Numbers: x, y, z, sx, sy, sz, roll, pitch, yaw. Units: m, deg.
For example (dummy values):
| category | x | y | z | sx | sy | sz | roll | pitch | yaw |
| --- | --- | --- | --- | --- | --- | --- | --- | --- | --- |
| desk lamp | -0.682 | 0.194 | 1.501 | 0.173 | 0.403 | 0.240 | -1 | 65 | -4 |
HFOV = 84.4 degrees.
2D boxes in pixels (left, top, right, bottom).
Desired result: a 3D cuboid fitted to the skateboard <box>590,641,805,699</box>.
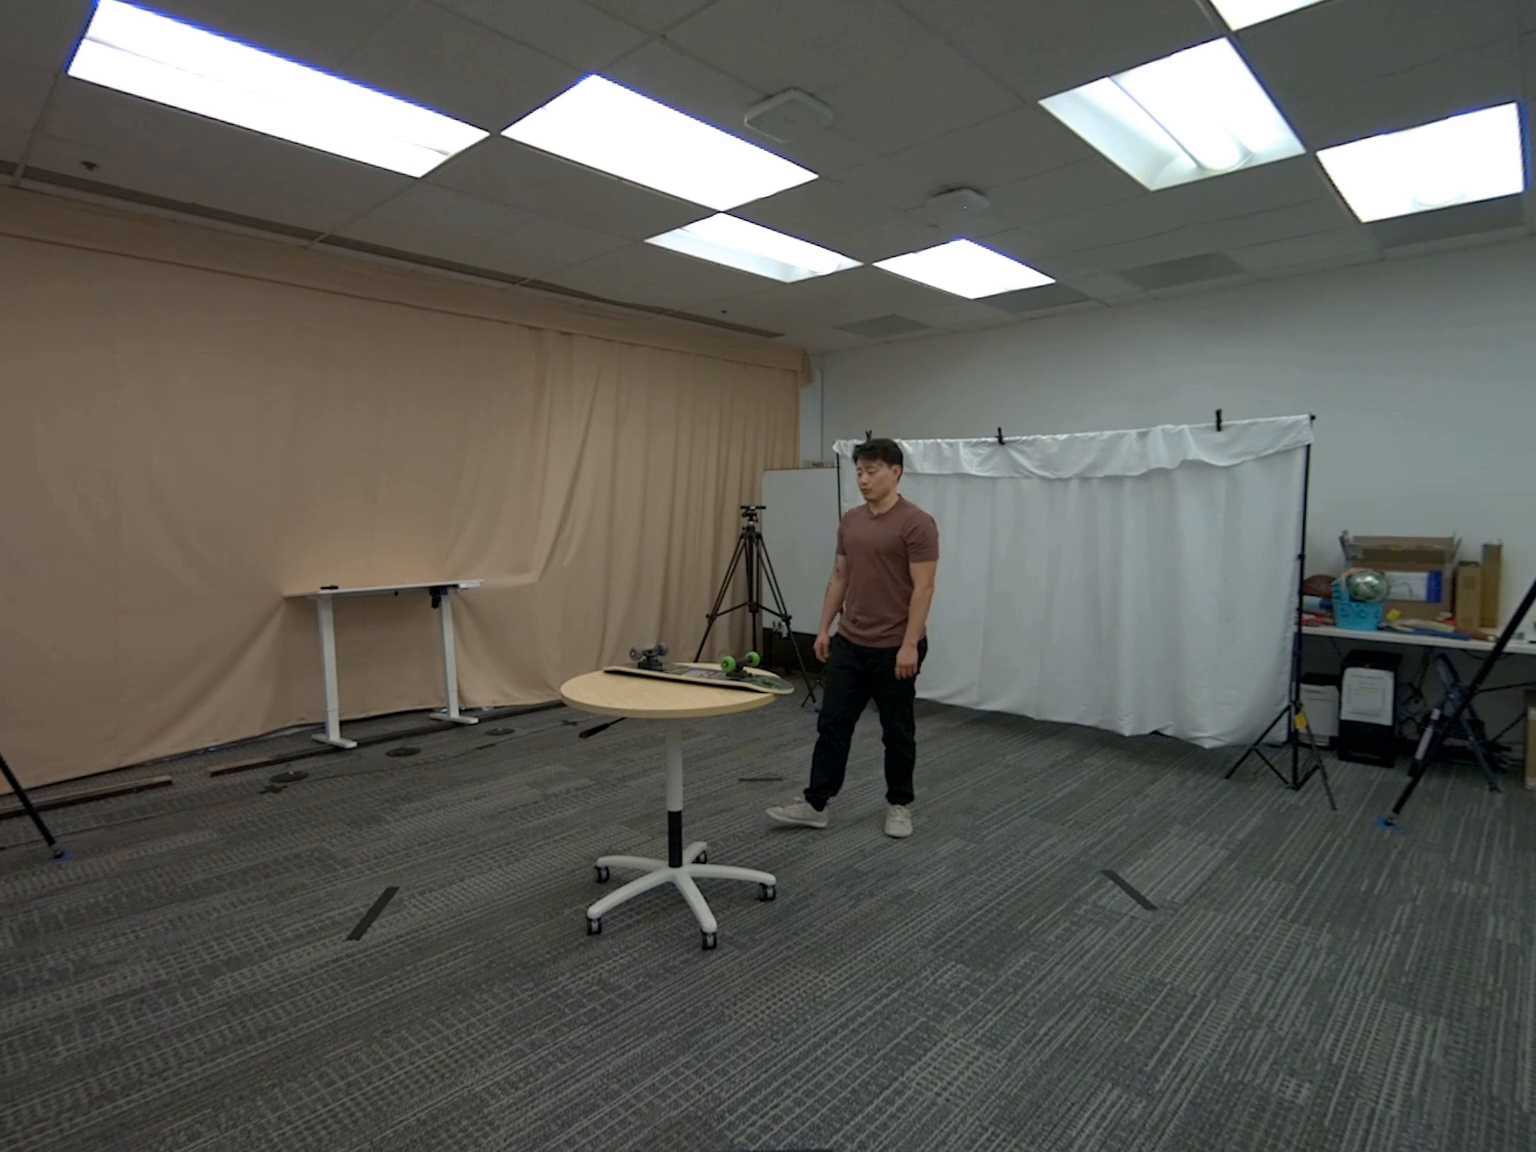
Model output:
| category | x | y | z | sx | sy | sz | roll | pitch | yaw |
| --- | --- | --- | --- | --- | --- | --- | --- | --- | --- |
| skateboard | -0.267 | 0.319 | 2.971 | 0.809 | 0.110 | 0.188 | 2 | 1 | 33 |
